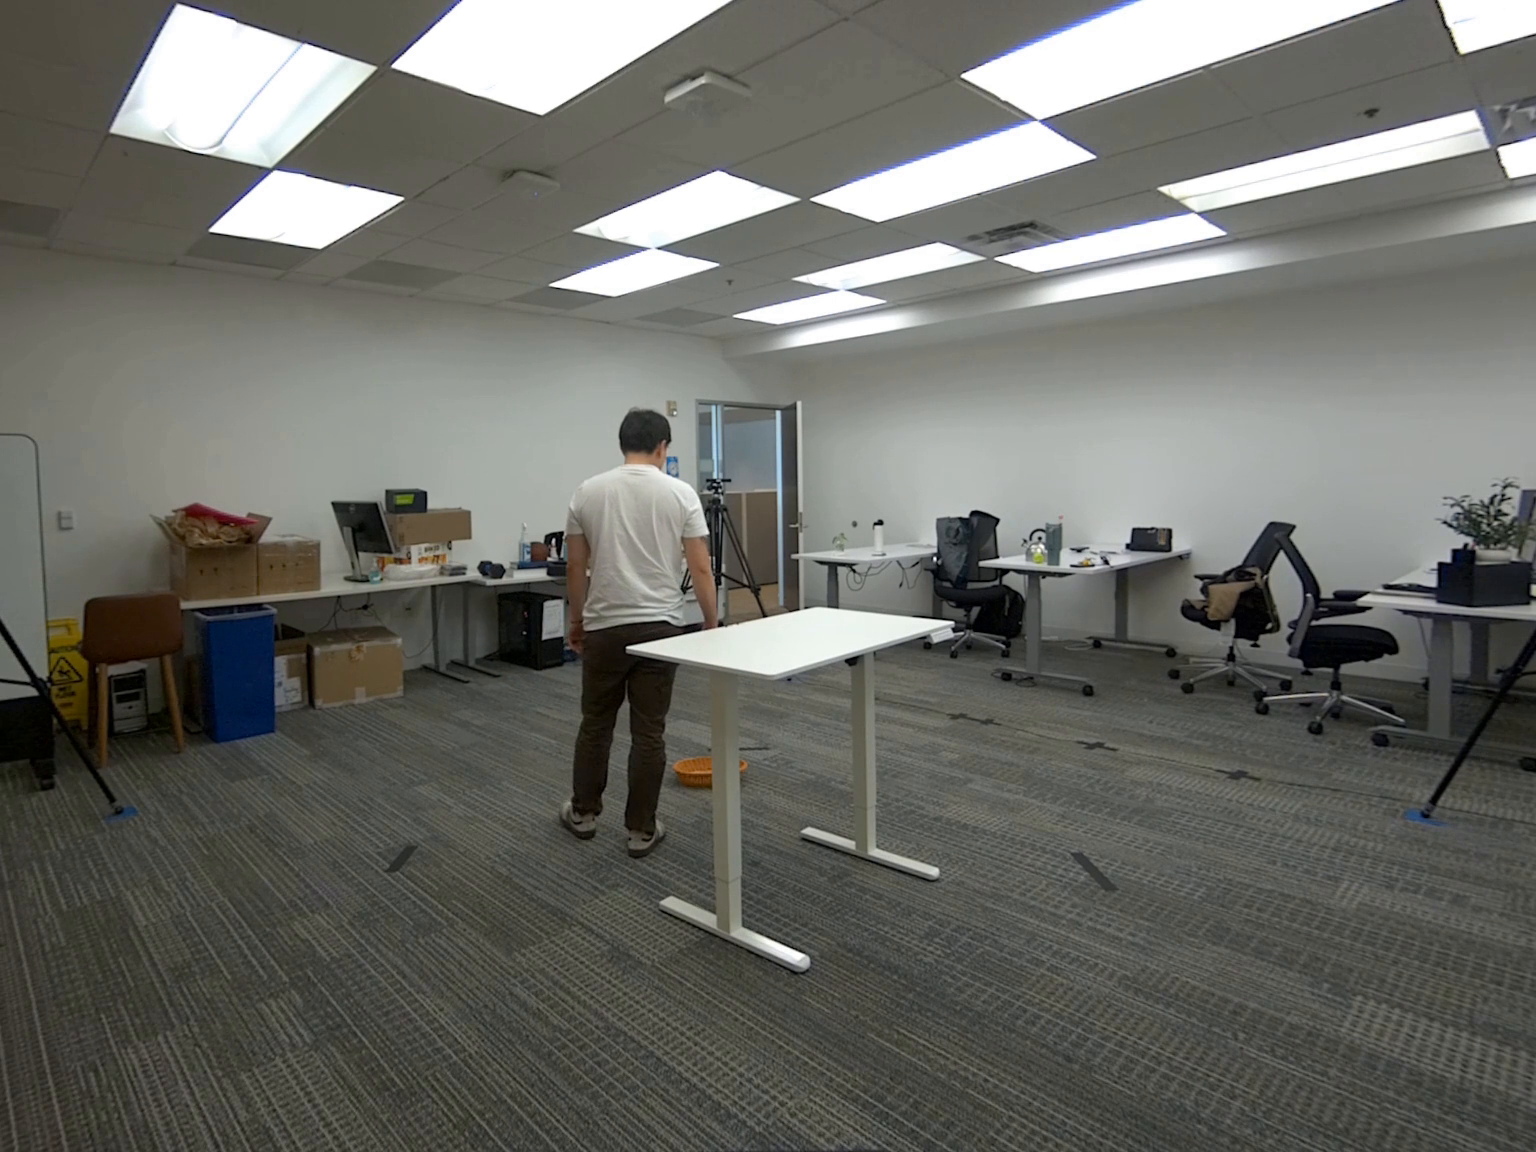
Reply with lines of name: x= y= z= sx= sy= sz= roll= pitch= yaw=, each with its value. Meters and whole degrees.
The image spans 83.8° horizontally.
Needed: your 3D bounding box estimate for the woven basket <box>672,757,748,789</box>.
woven basket: x=-0.270 y=0.913 z=3.984 sx=0.351 sy=0.073 sz=0.253 roll=-1 pitch=5 yaw=2
